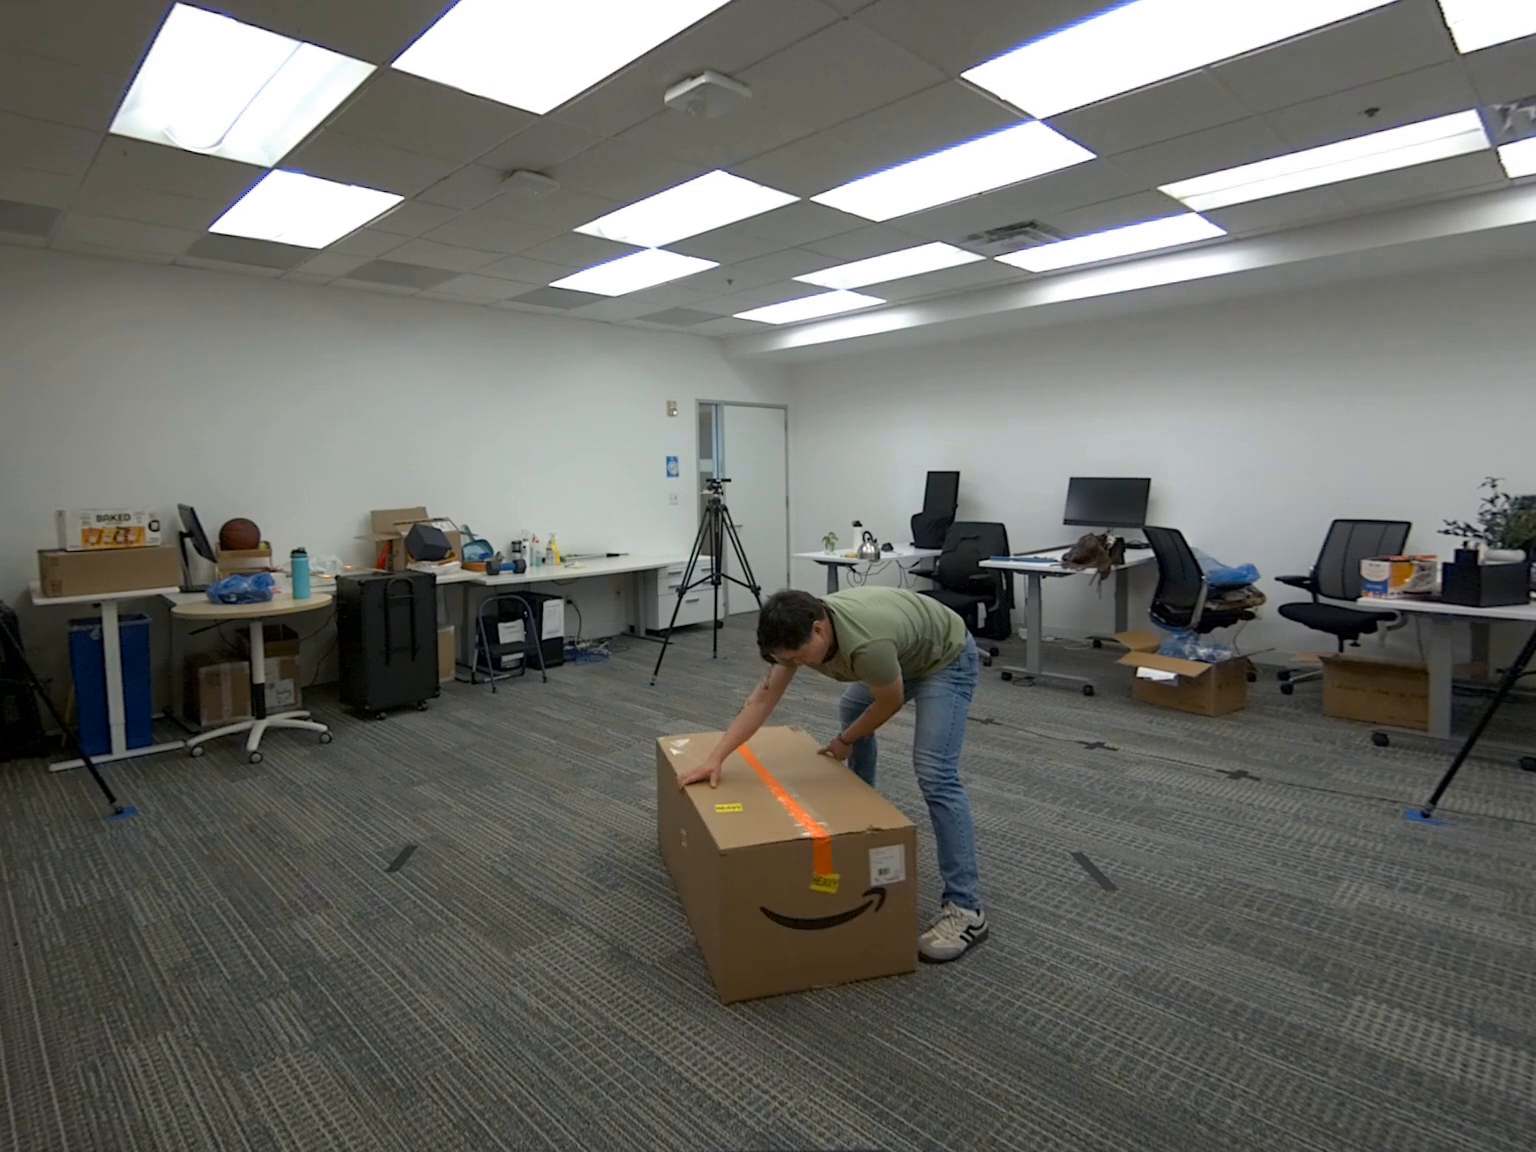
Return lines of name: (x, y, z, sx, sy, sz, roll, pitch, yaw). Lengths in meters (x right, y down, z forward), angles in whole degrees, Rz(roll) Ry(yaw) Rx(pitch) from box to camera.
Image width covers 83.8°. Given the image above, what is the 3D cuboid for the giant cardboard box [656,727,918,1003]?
giant cardboard box: (-0.009, 0.860, 2.824, 0.570, 0.424, 1.045, -3, 6, -16)
